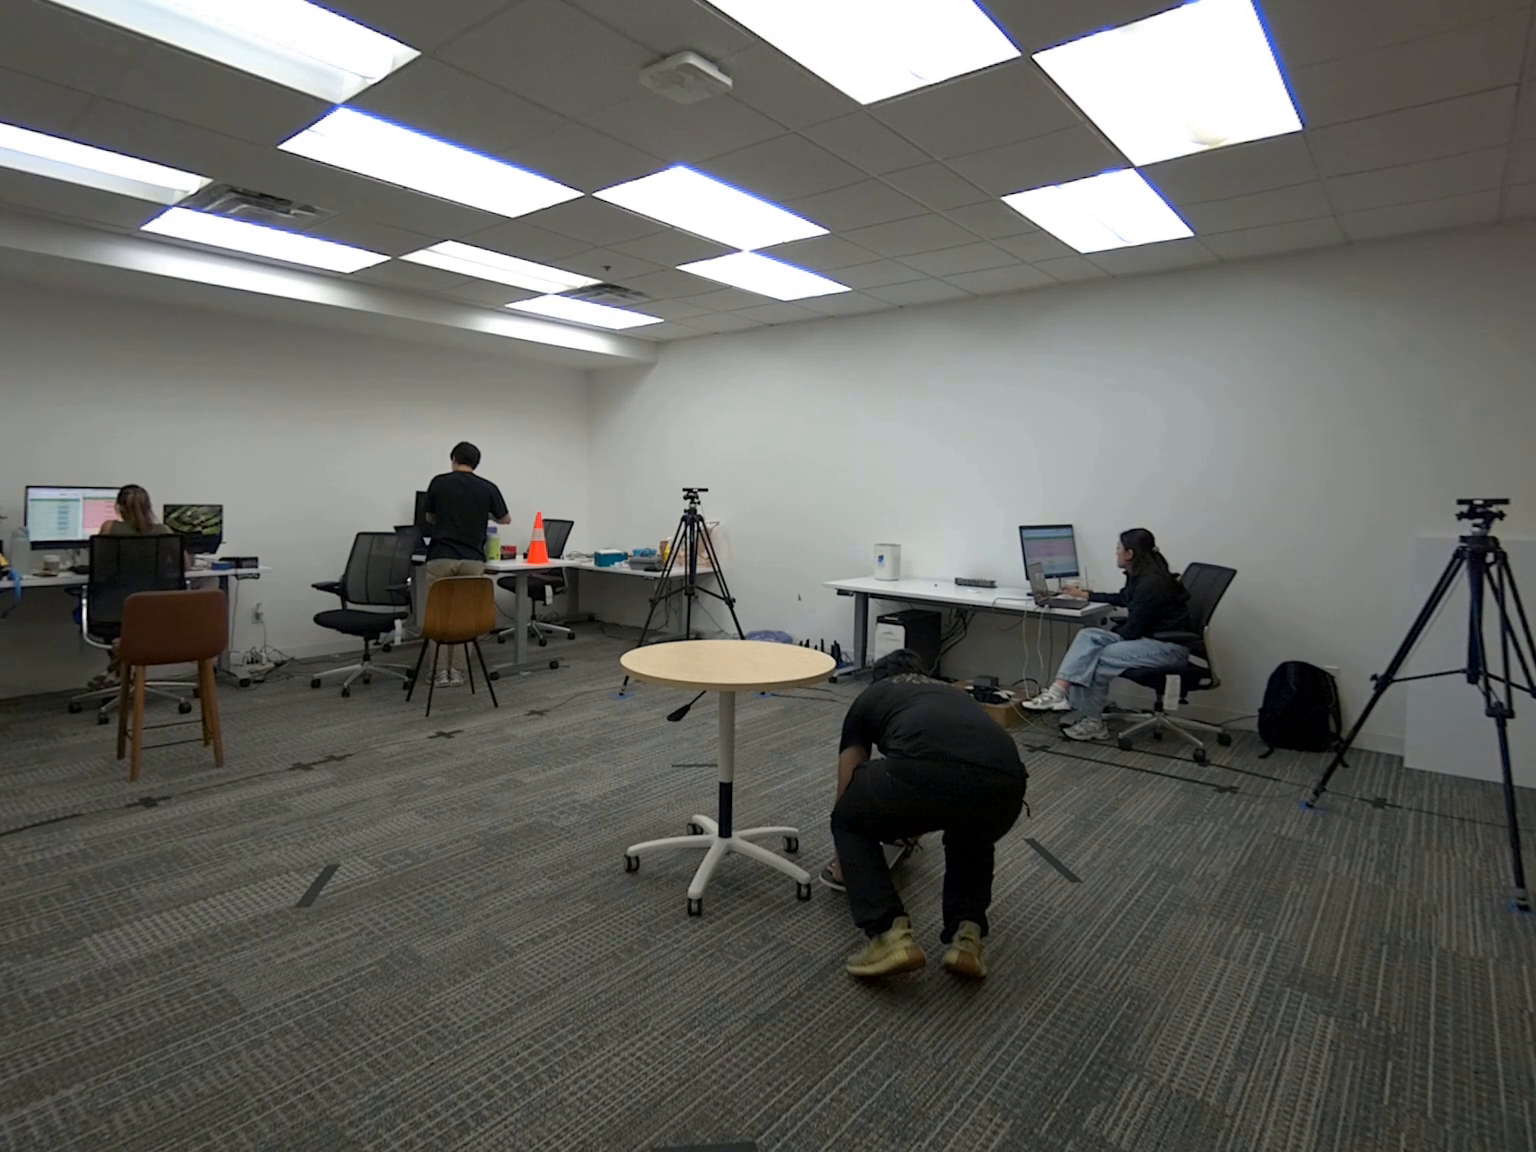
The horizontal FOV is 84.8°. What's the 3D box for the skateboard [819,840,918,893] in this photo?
[{"bbox_3d":[0.371,1.015,3.125,0.199,0.110,0.767,4,6,26],"label":"skateboard"}]
